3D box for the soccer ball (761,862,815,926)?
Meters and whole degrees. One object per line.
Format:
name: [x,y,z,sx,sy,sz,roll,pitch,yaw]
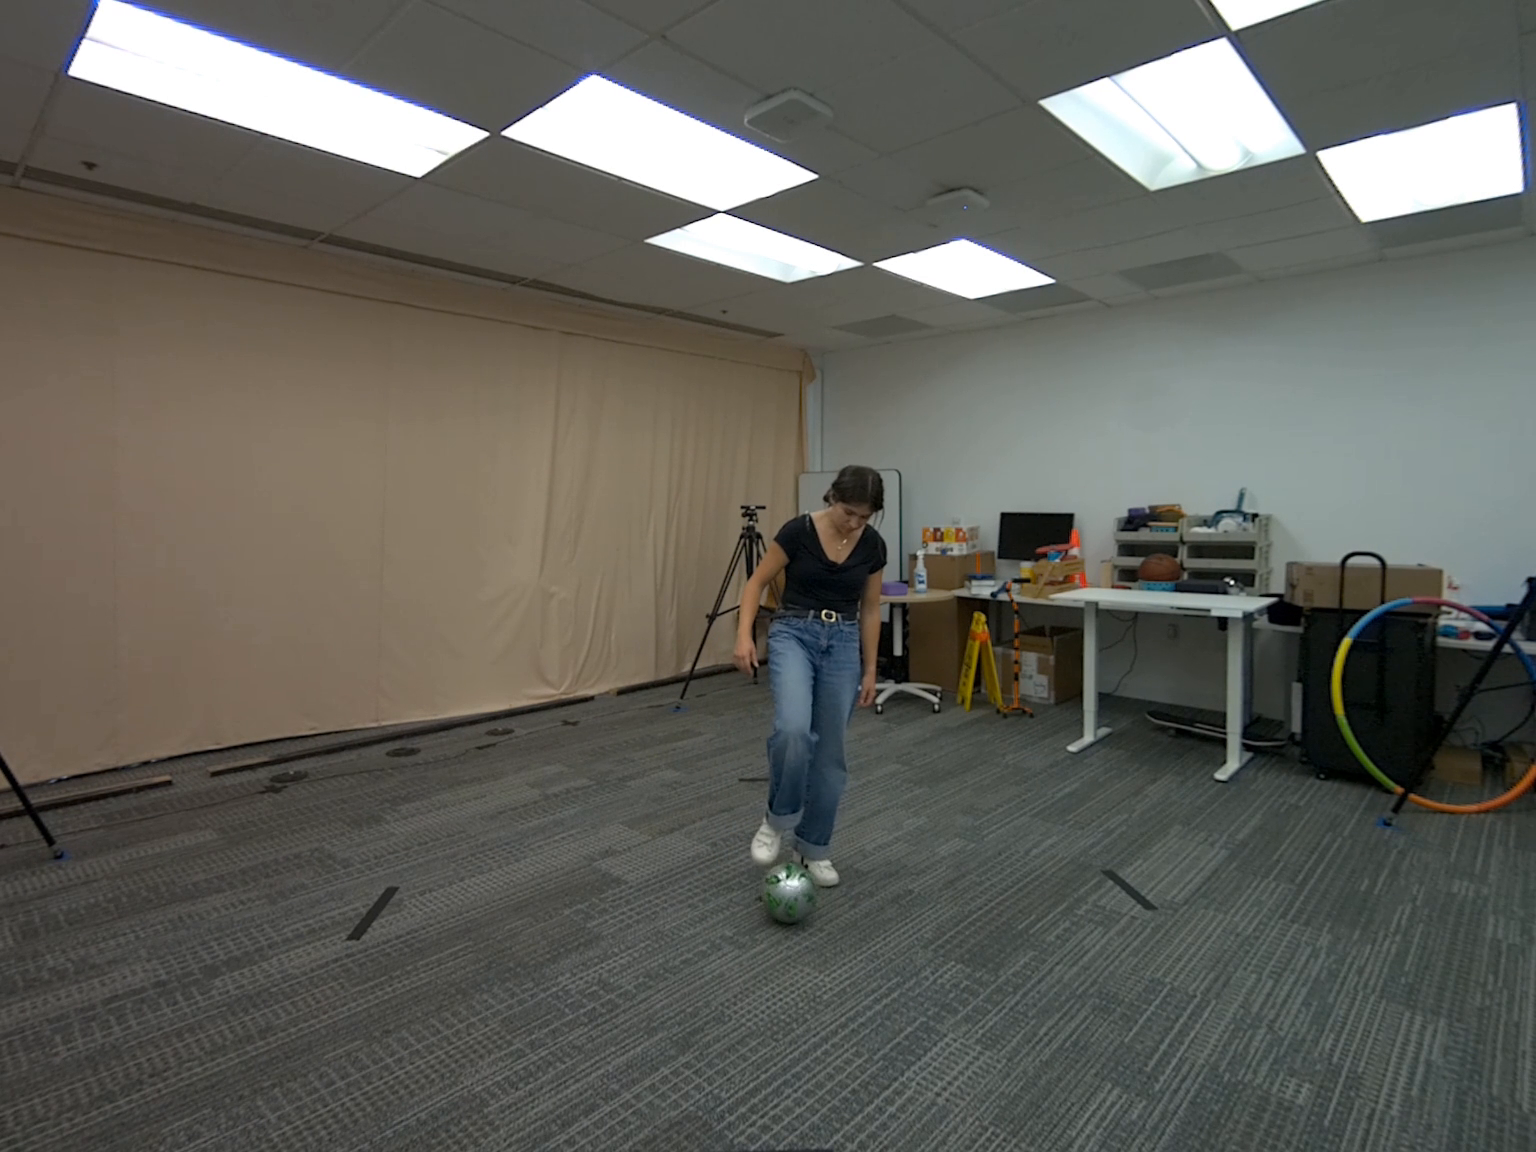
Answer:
soccer ball: [0.079,1.058,2.818,0.187,0.187,0.188,0,4,-2]
